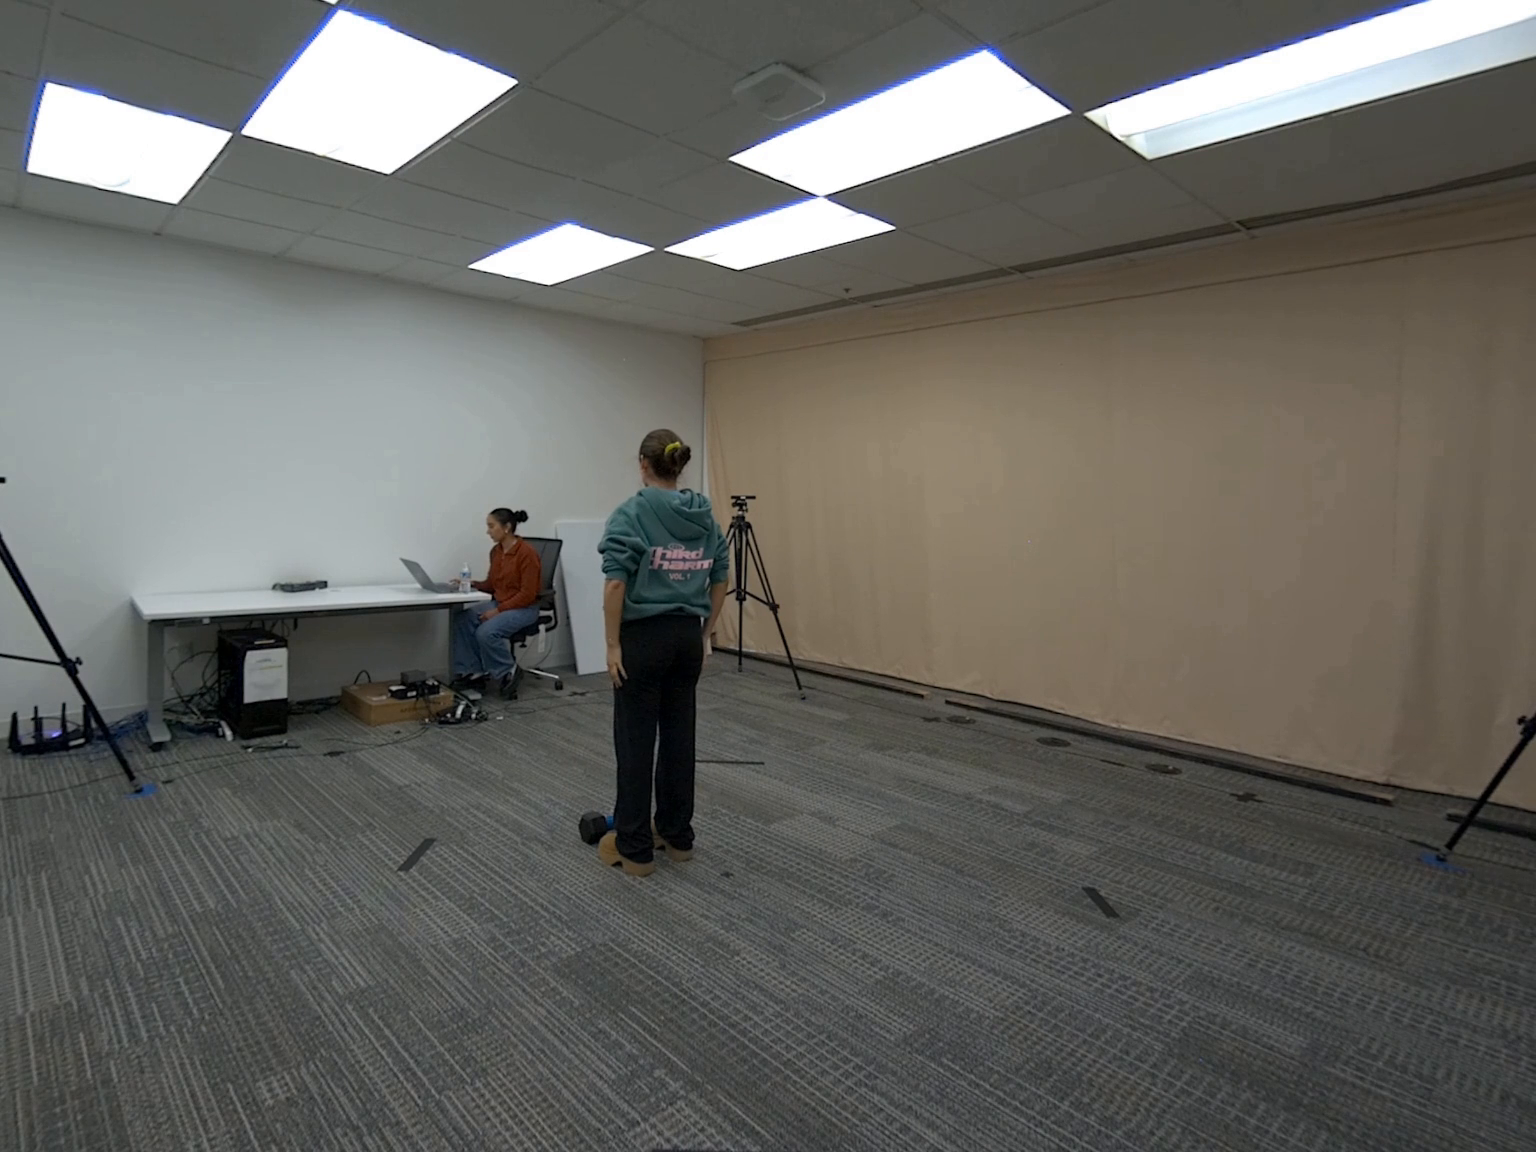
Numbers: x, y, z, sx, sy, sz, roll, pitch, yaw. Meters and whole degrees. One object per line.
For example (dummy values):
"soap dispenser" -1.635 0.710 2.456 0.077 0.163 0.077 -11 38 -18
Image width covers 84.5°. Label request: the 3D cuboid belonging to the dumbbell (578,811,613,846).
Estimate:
"dumbbell" -0.633 1.008 3.444 0.287 0.125 0.109 -3 -26 -42
